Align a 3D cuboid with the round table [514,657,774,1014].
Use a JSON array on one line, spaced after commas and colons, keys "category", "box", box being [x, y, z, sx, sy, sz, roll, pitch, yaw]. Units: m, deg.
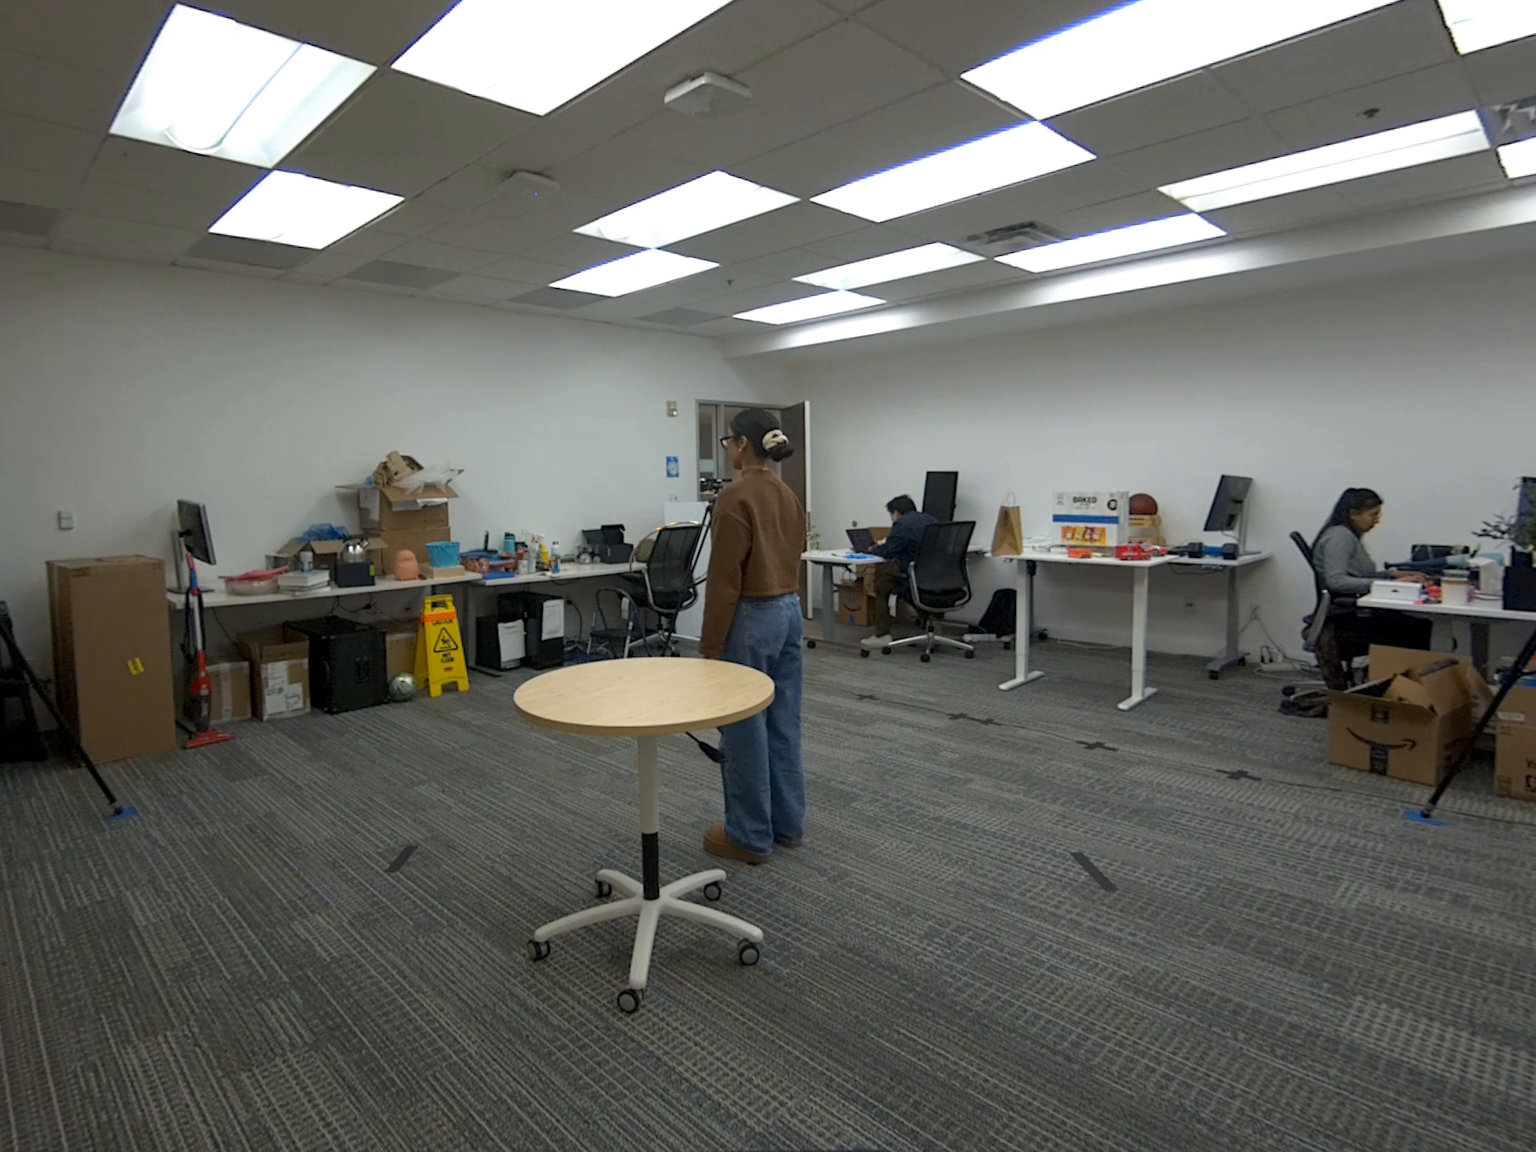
[{"category": "round table", "box": [-0.361, 0.716, 2.586, 0.784, 0.782, 0.790, -1, 6, -2]}]
